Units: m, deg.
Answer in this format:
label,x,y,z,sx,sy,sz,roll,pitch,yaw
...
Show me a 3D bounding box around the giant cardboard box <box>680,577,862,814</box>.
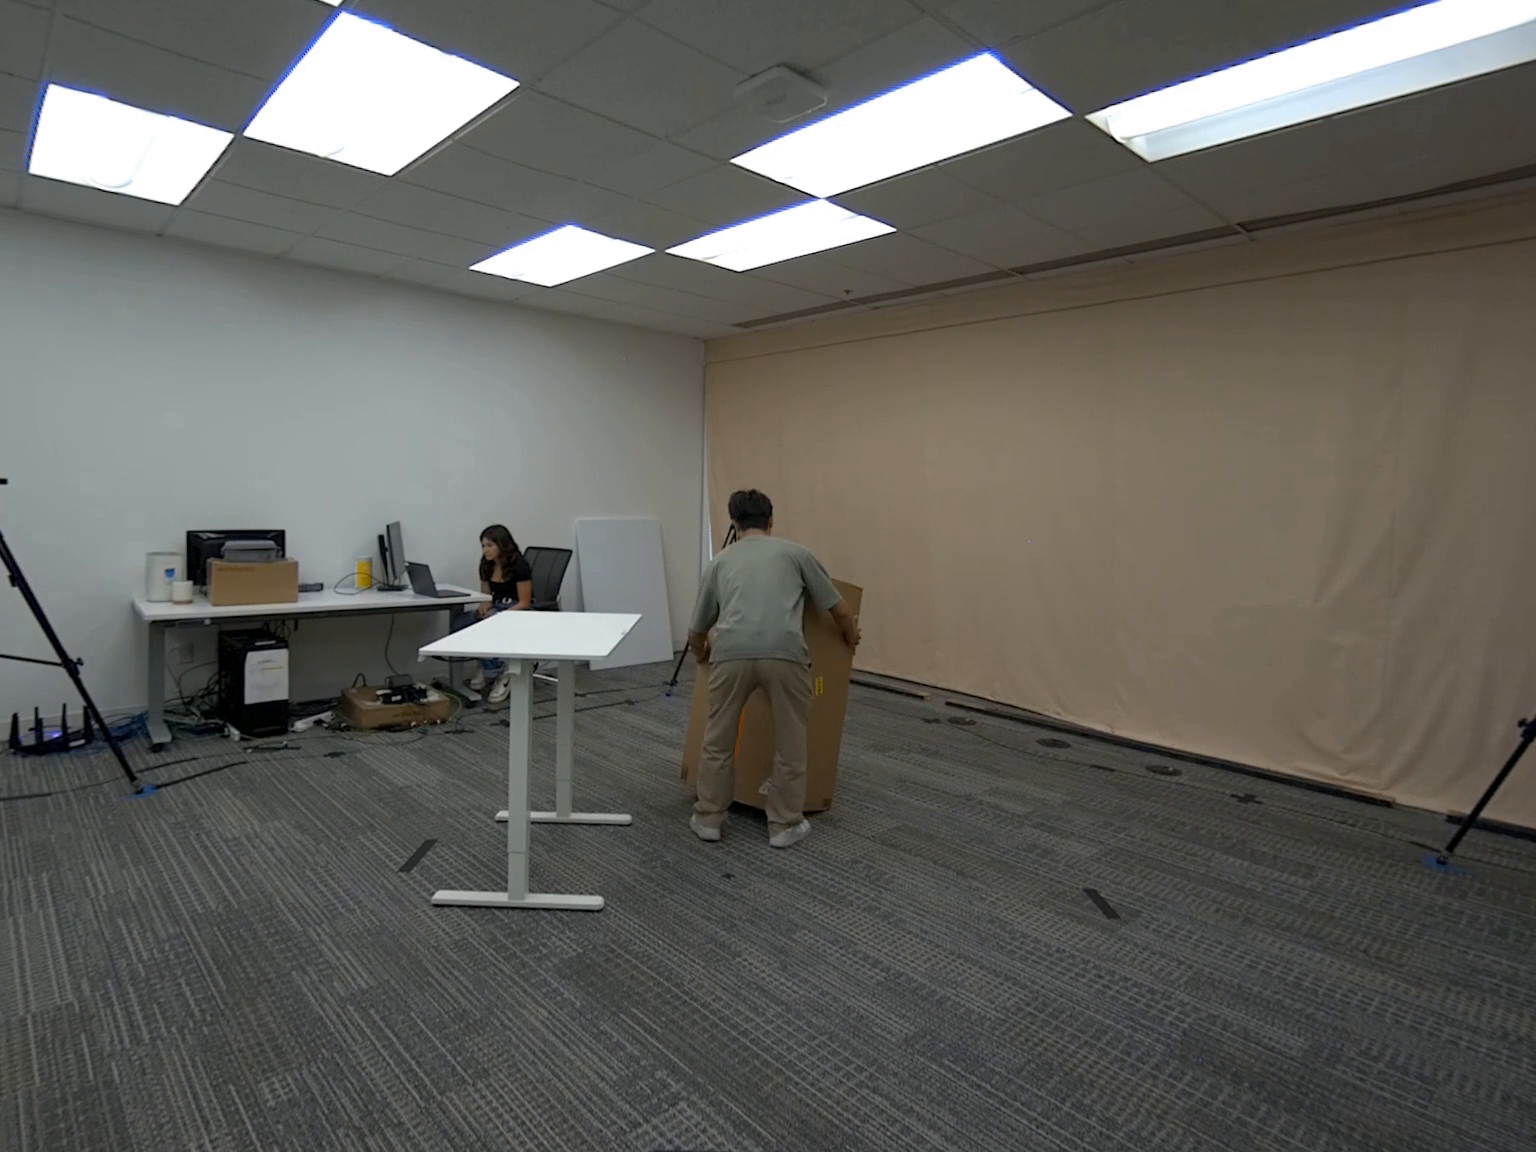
label,x,y,z,sx,sy,sz,roll,pitch,yaw
giant cardboard box,0.008,0.507,3.910,0.592,1.030,0.414,5,-8,39
